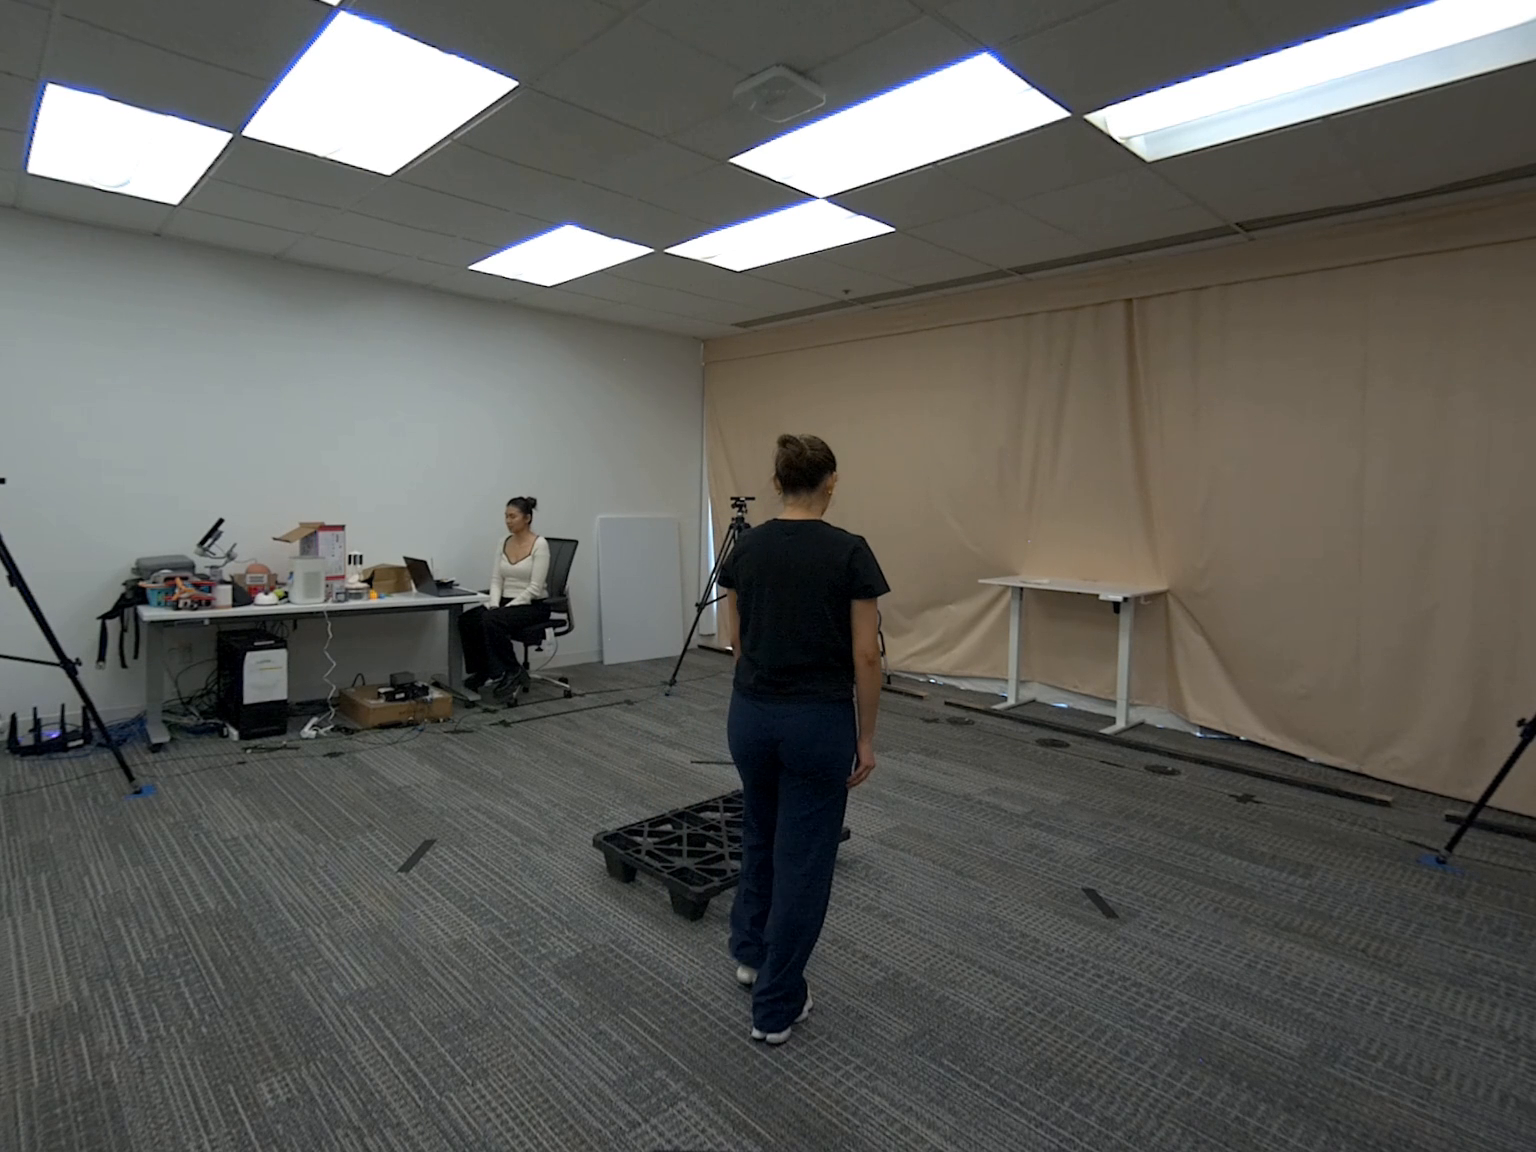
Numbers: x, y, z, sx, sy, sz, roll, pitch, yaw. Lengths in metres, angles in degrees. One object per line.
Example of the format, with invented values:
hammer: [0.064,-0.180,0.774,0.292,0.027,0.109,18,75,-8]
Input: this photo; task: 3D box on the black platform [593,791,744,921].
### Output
black platform: [-0.174,1.034,3.161,0.620,0.143,0.787,6,6,44]
